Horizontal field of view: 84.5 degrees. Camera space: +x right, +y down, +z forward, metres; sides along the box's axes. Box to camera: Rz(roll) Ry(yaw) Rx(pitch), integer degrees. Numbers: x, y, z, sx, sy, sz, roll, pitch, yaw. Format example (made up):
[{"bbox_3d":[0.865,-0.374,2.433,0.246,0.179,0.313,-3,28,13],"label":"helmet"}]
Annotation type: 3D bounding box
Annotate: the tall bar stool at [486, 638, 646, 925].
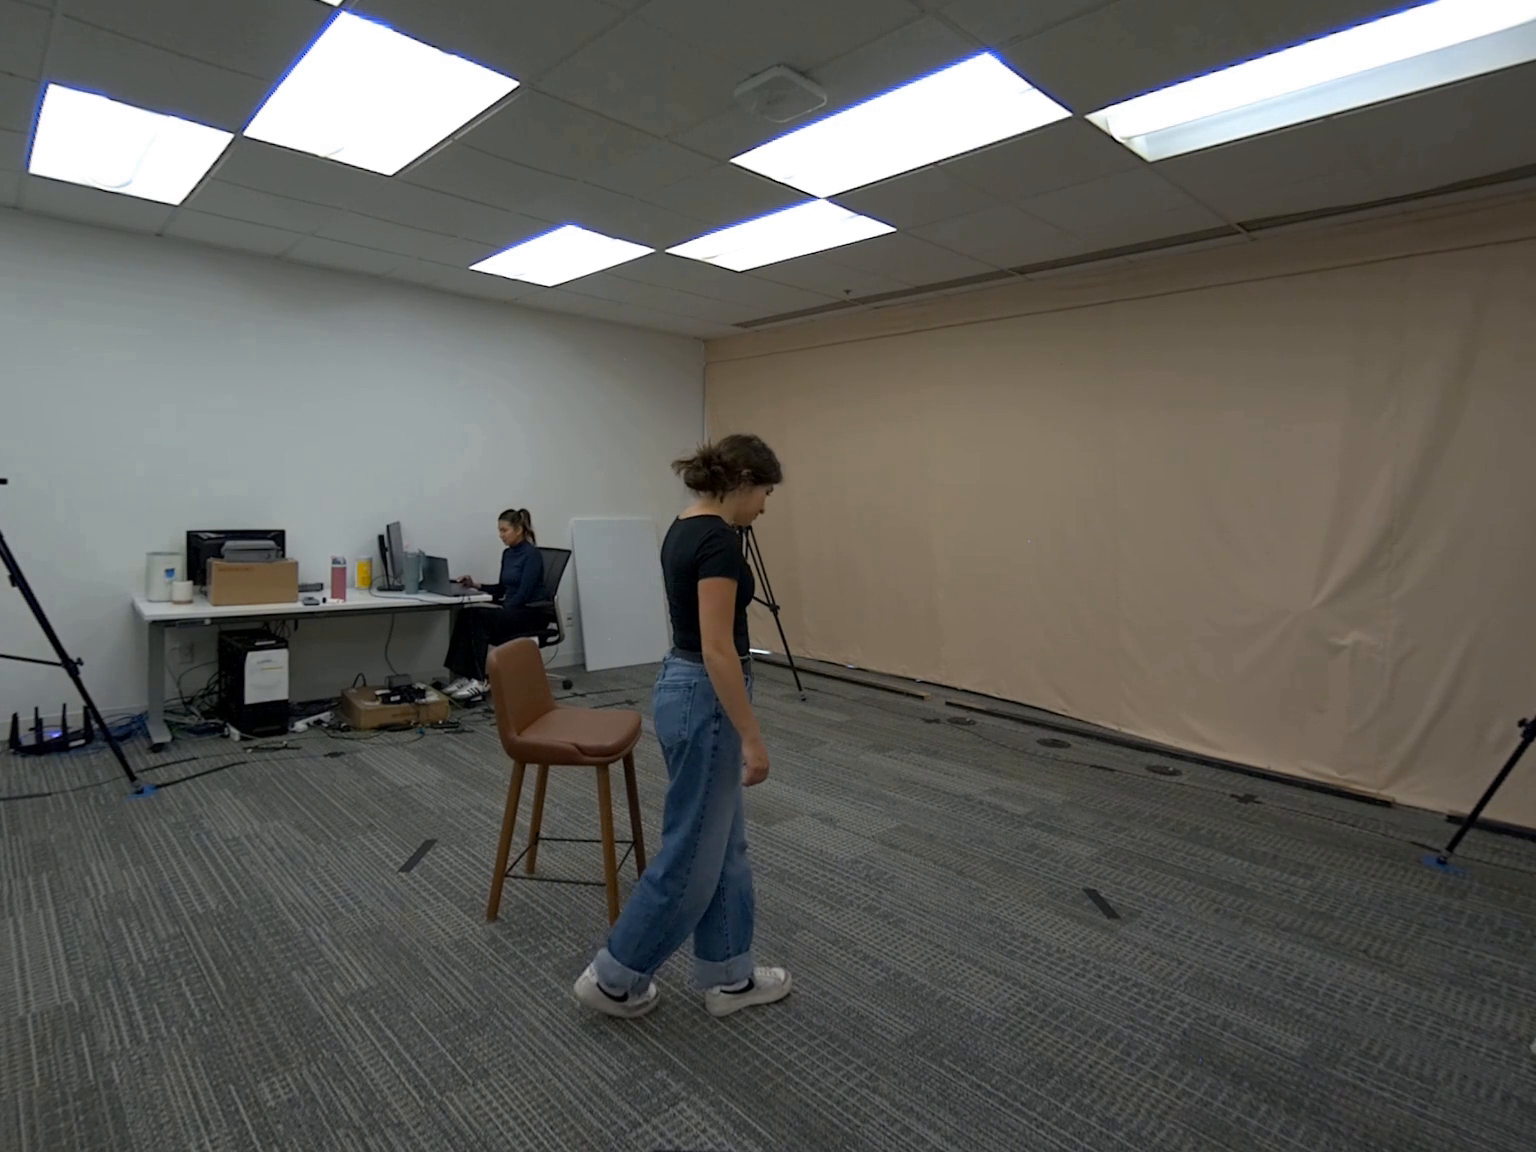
[{"bbox_3d":[-0.684,0.679,2.874,0.470,0.888,0.455,0,3,6],"label":"tall bar stool"}]
